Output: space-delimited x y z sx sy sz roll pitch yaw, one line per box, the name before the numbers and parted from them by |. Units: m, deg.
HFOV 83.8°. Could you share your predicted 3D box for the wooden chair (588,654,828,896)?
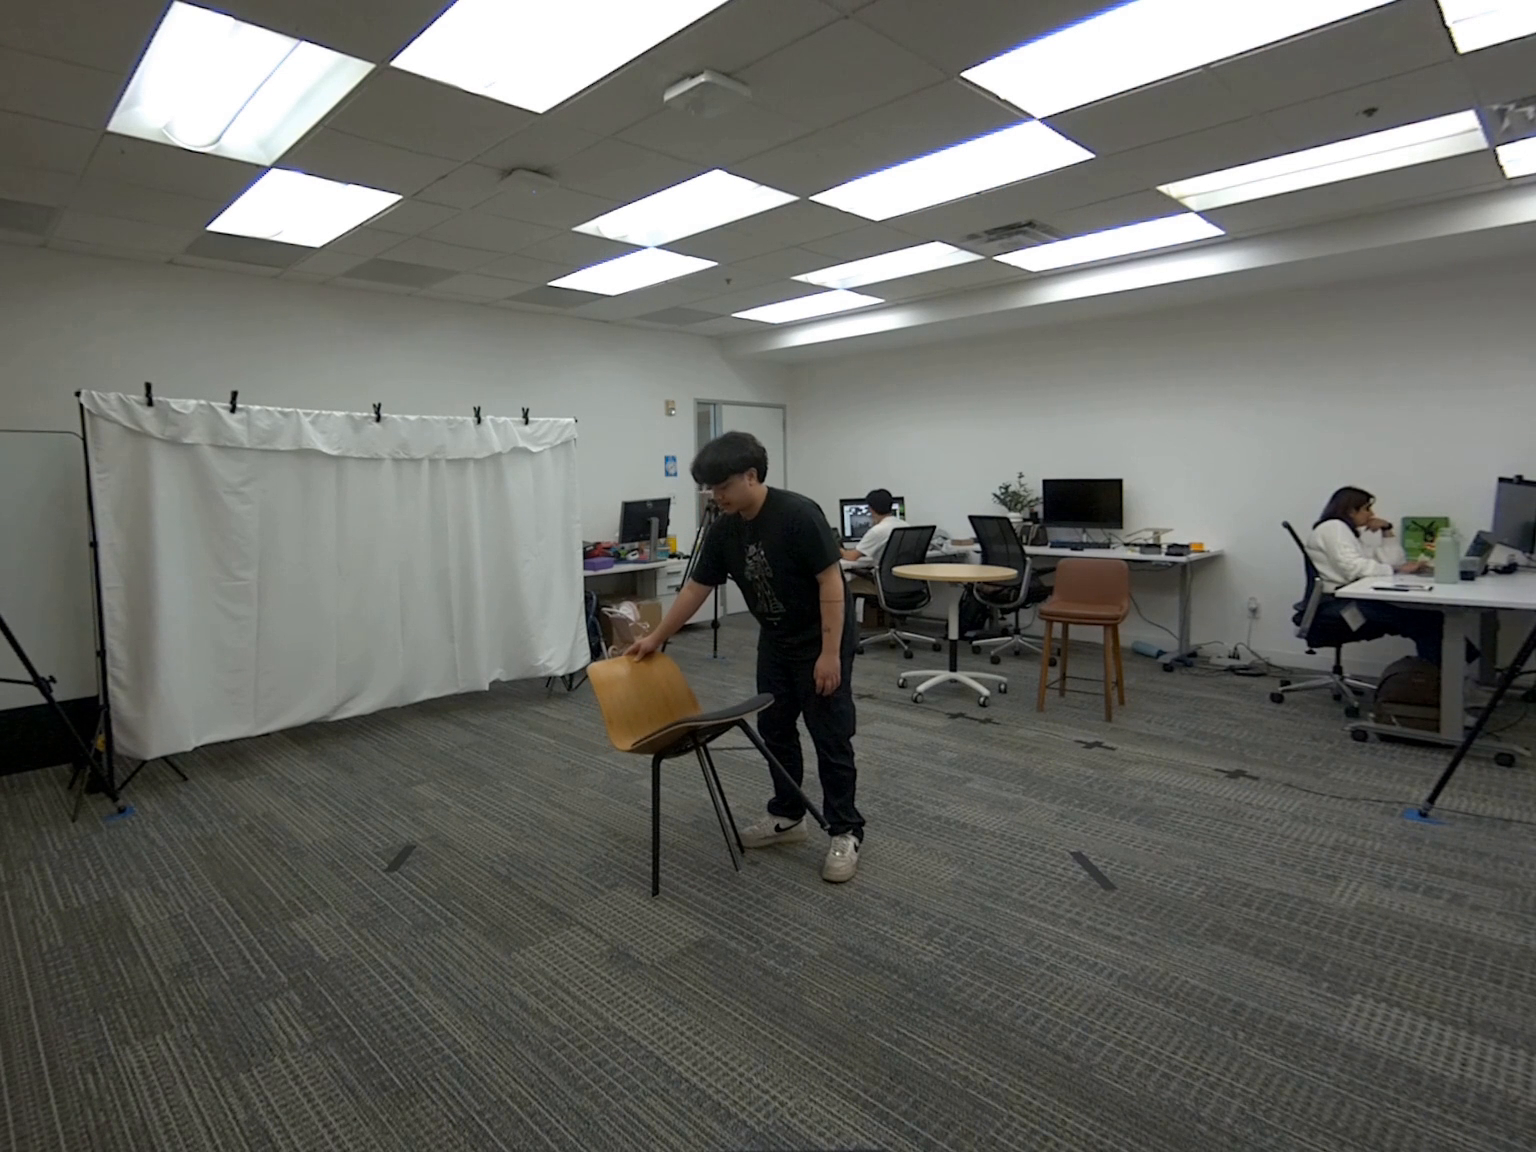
wooden chair | -0.240 0.572 2.978 0.465 0.898 0.525 -5 -28 -46
